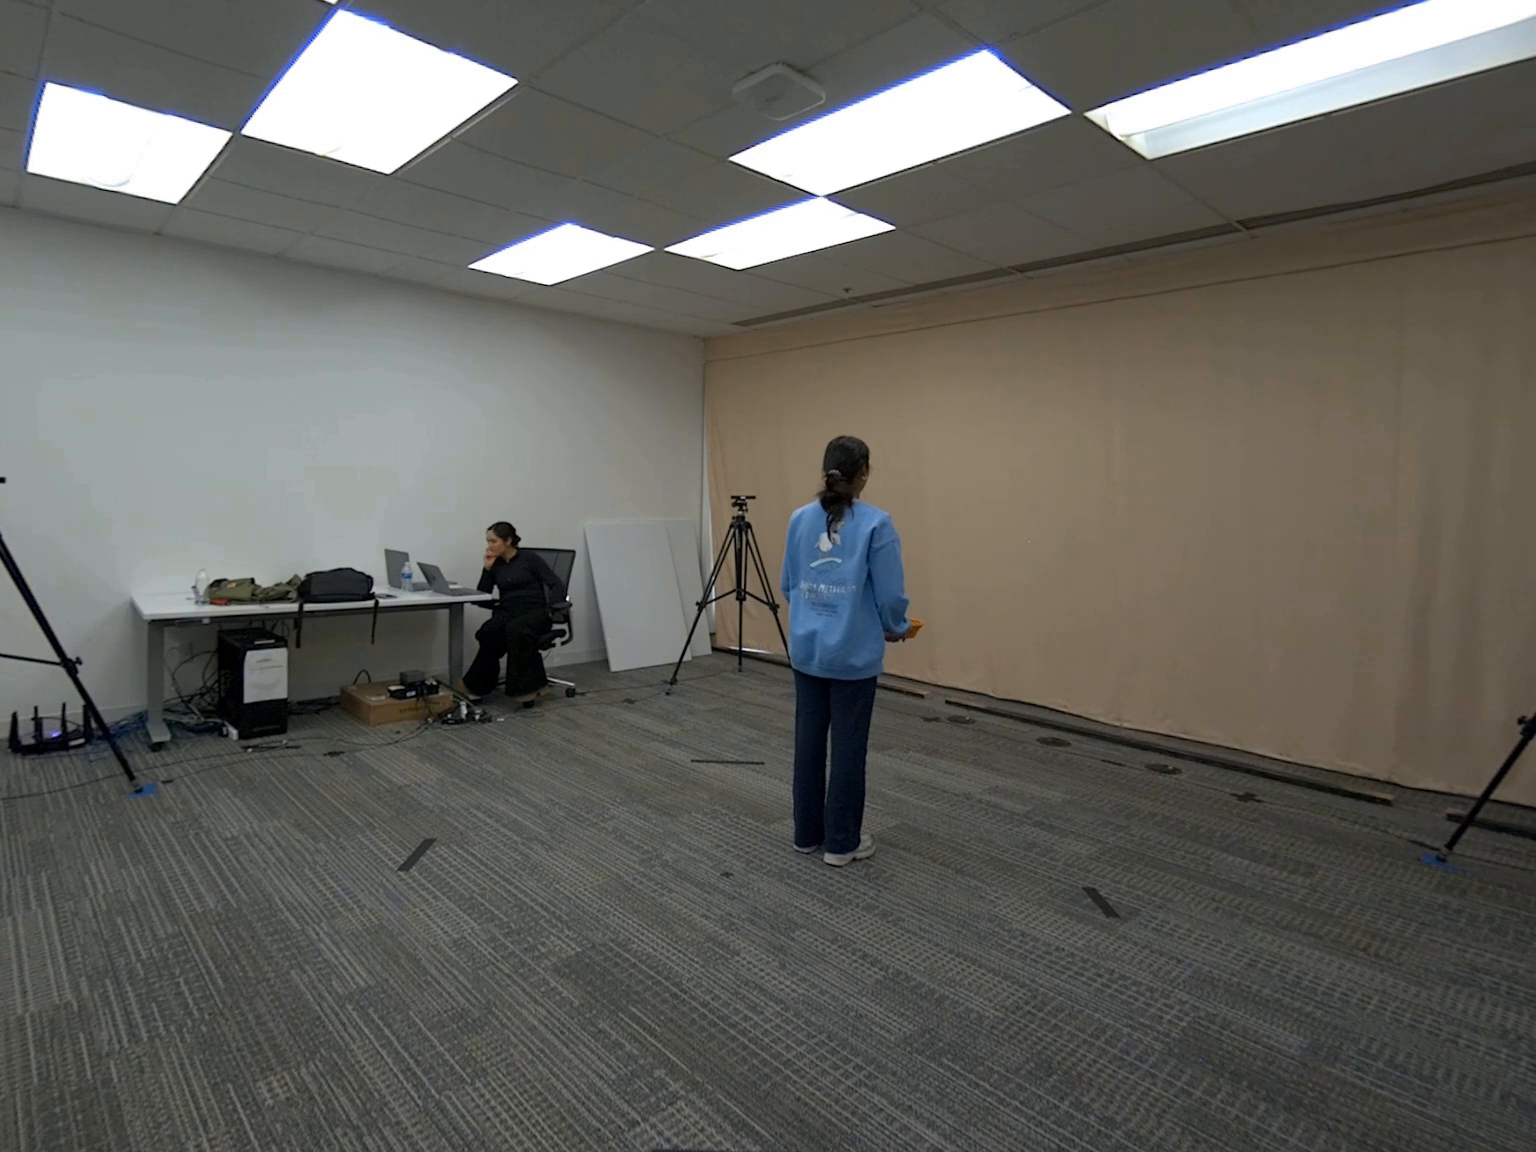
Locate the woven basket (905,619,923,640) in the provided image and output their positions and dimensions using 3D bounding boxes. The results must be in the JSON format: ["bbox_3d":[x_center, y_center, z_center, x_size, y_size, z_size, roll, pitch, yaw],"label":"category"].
[{"bbox_3d":[0.506,0.223,3.540,0.342,0.073,0.259,2,6,-35],"label":"woven basket"}]
